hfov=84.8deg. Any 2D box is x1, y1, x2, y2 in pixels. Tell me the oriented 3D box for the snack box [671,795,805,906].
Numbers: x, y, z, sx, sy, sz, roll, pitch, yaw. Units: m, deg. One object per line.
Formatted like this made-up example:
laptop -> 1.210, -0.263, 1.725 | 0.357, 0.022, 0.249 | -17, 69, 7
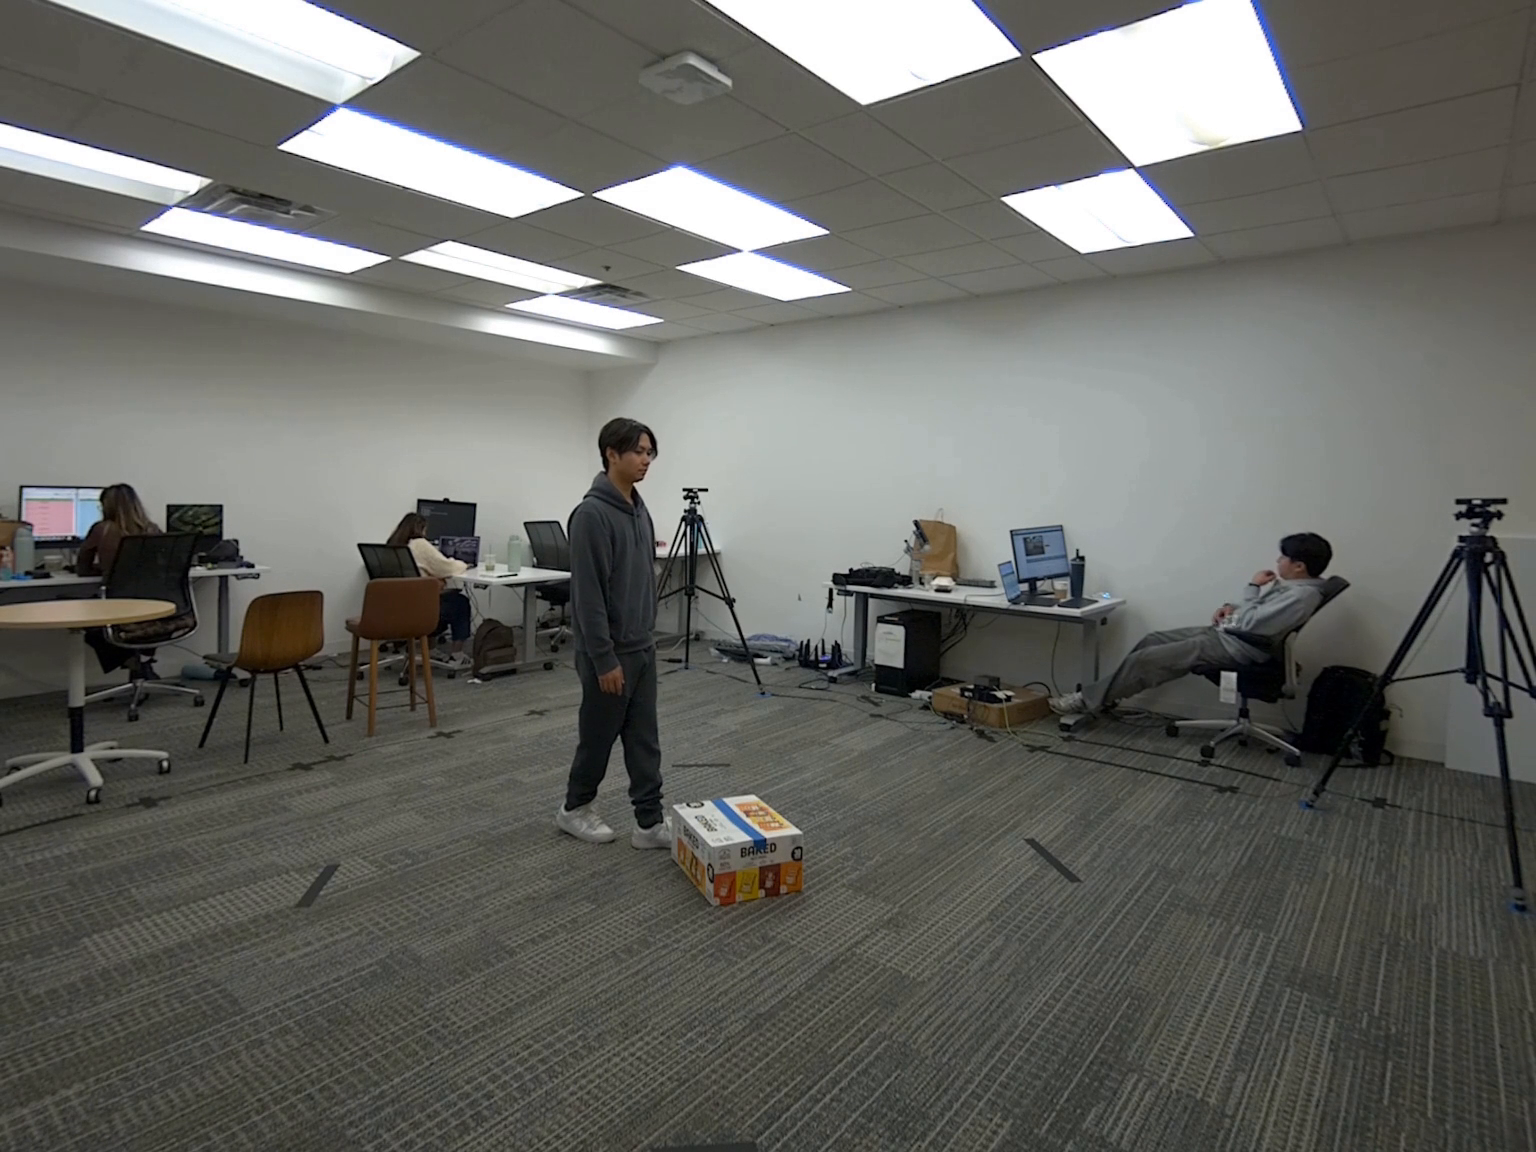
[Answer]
snack box -> -0.129, 0.972, 3.069 | 0.332, 0.205, 0.416 | -1, 6, -25
